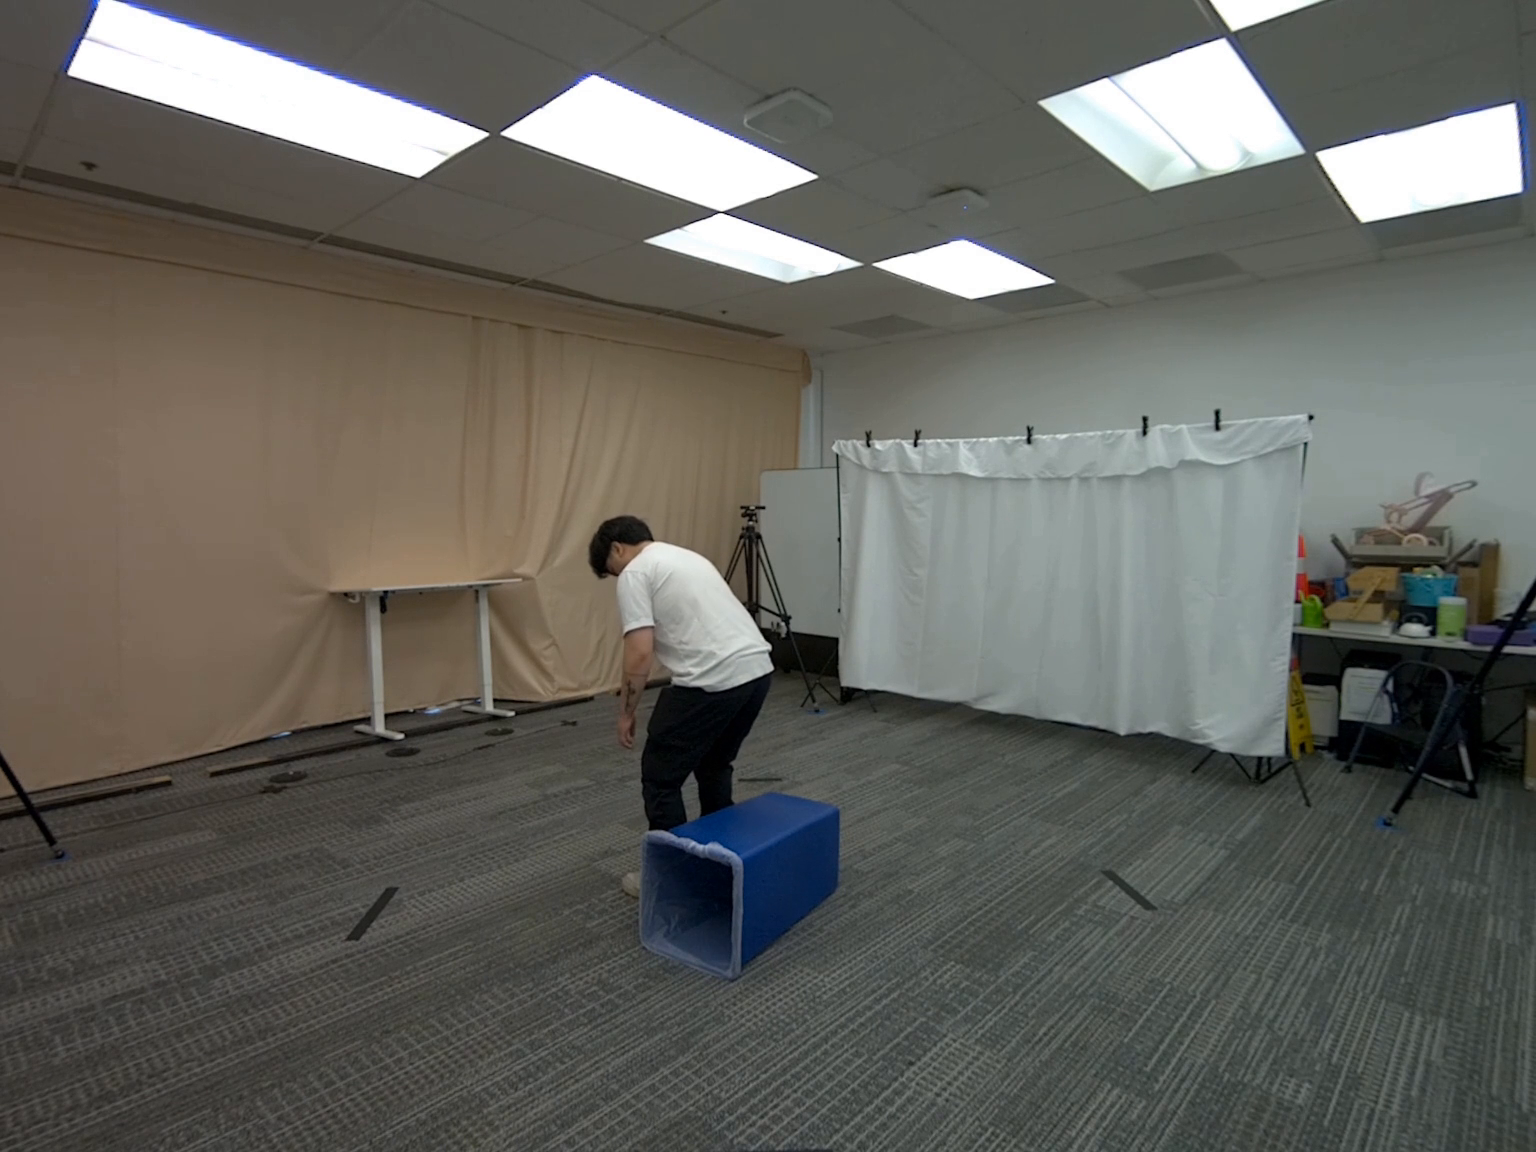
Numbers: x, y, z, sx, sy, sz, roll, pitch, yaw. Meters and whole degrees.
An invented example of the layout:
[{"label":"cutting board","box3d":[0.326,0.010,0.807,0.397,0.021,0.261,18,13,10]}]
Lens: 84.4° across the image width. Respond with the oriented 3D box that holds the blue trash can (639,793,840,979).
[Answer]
[{"label":"blue trash can","box3d":[-0.049,0.994,2.839,0.389,0.374,0.692,1,1,33]}]
